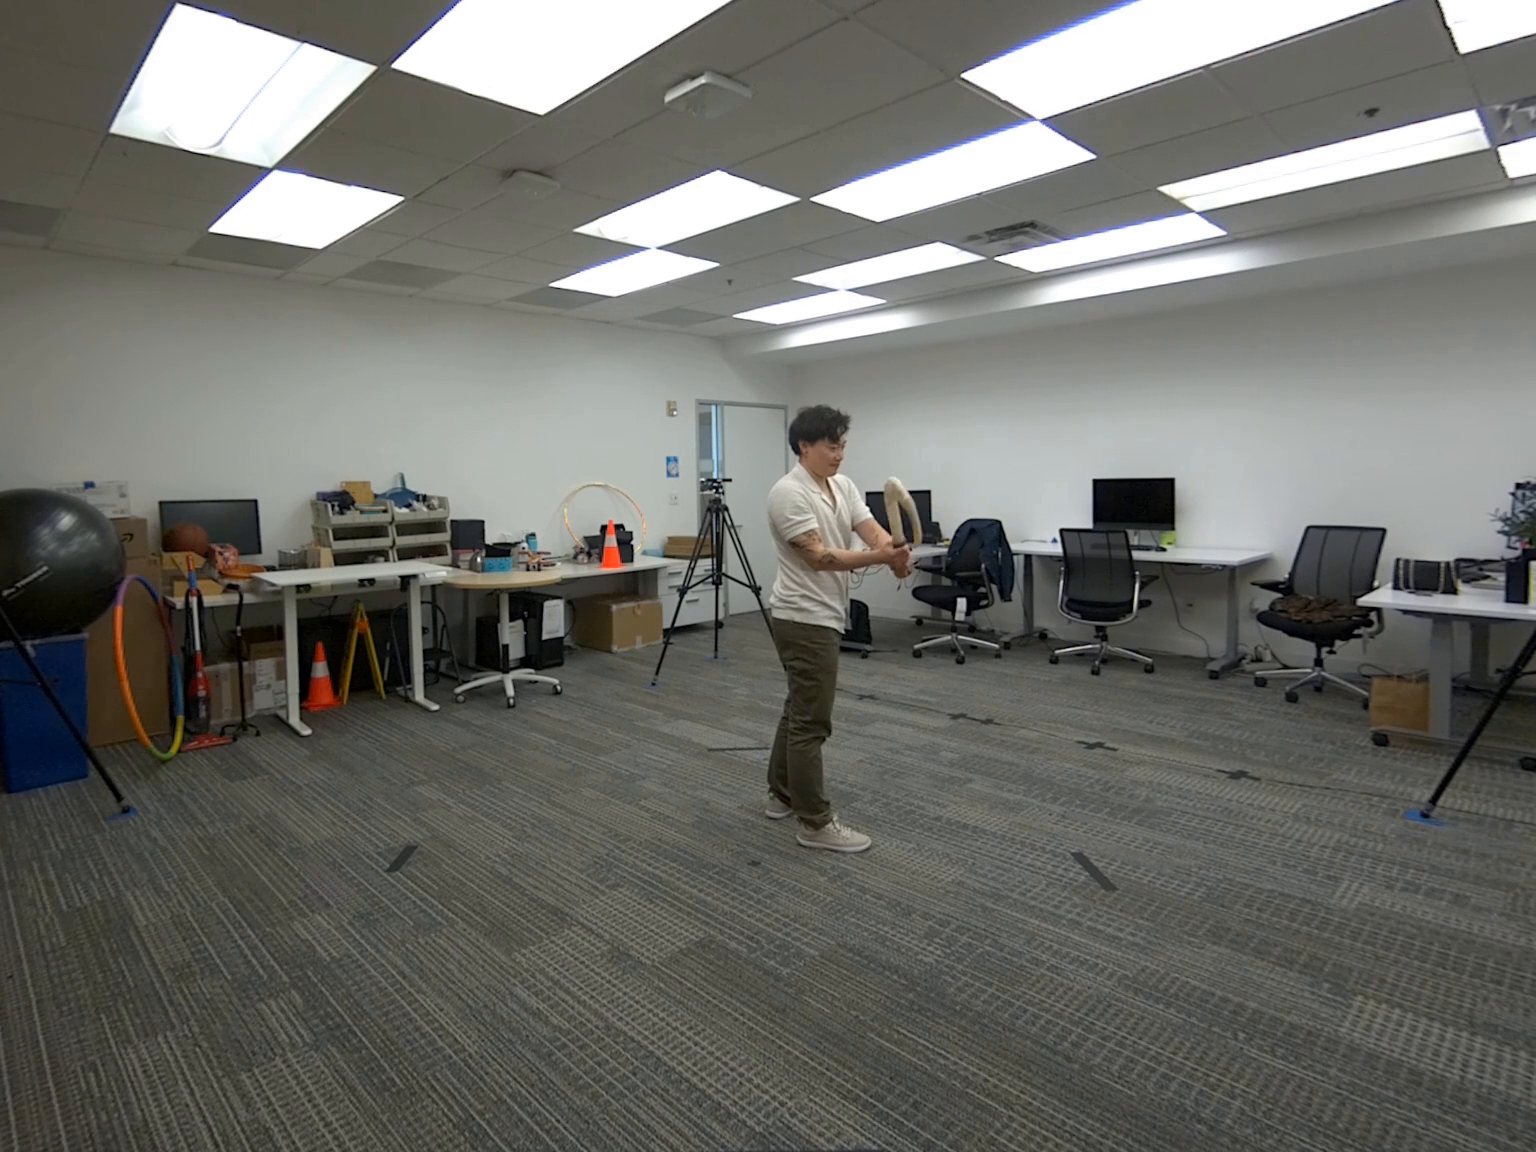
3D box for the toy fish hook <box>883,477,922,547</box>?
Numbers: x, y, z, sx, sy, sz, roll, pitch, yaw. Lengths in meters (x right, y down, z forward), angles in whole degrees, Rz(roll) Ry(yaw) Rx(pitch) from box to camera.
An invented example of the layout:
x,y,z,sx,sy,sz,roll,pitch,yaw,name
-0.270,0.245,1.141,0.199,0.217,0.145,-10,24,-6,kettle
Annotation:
x,y,z,sx,sy,sz,roll,pitch,yaw,name
0.464,-0.108,2.868,0.048,0.232,0.490,-14,-41,-4,toy fish hook
